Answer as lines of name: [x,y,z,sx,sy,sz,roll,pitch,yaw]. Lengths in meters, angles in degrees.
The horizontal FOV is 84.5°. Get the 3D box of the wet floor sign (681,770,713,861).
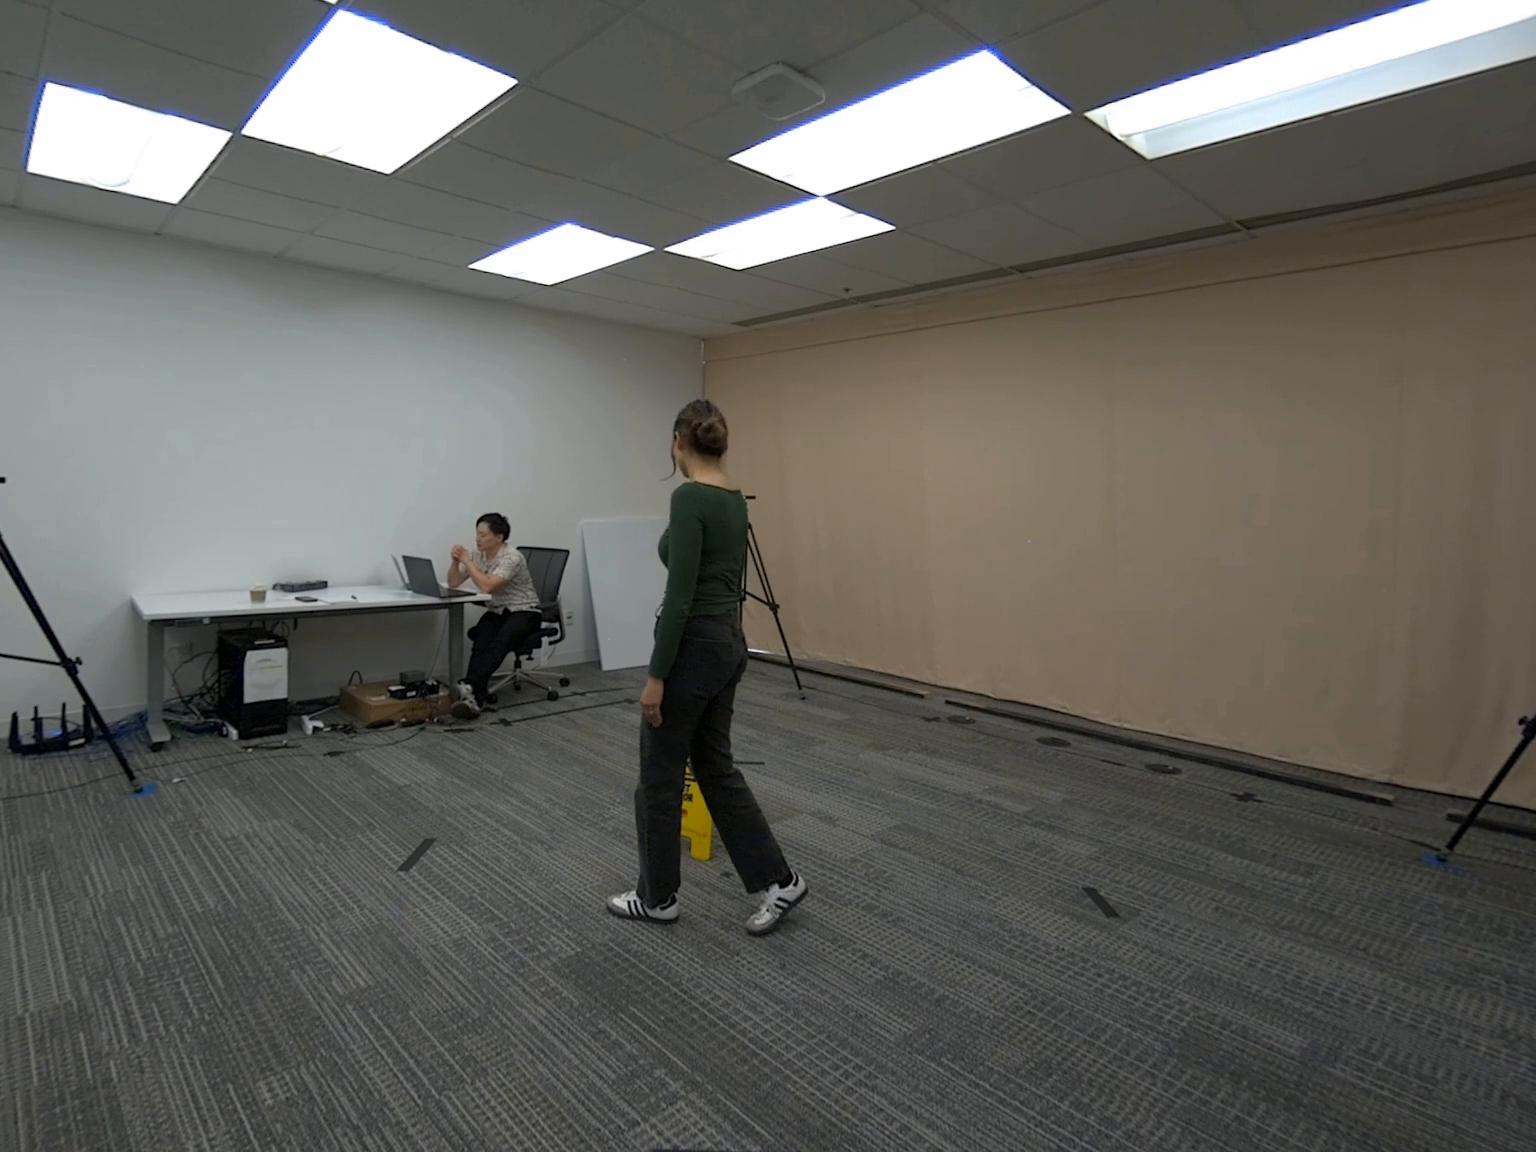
wet floor sign: [-0.312,0.754,3.386,0.287,0.644,0.285,1,3,21]
